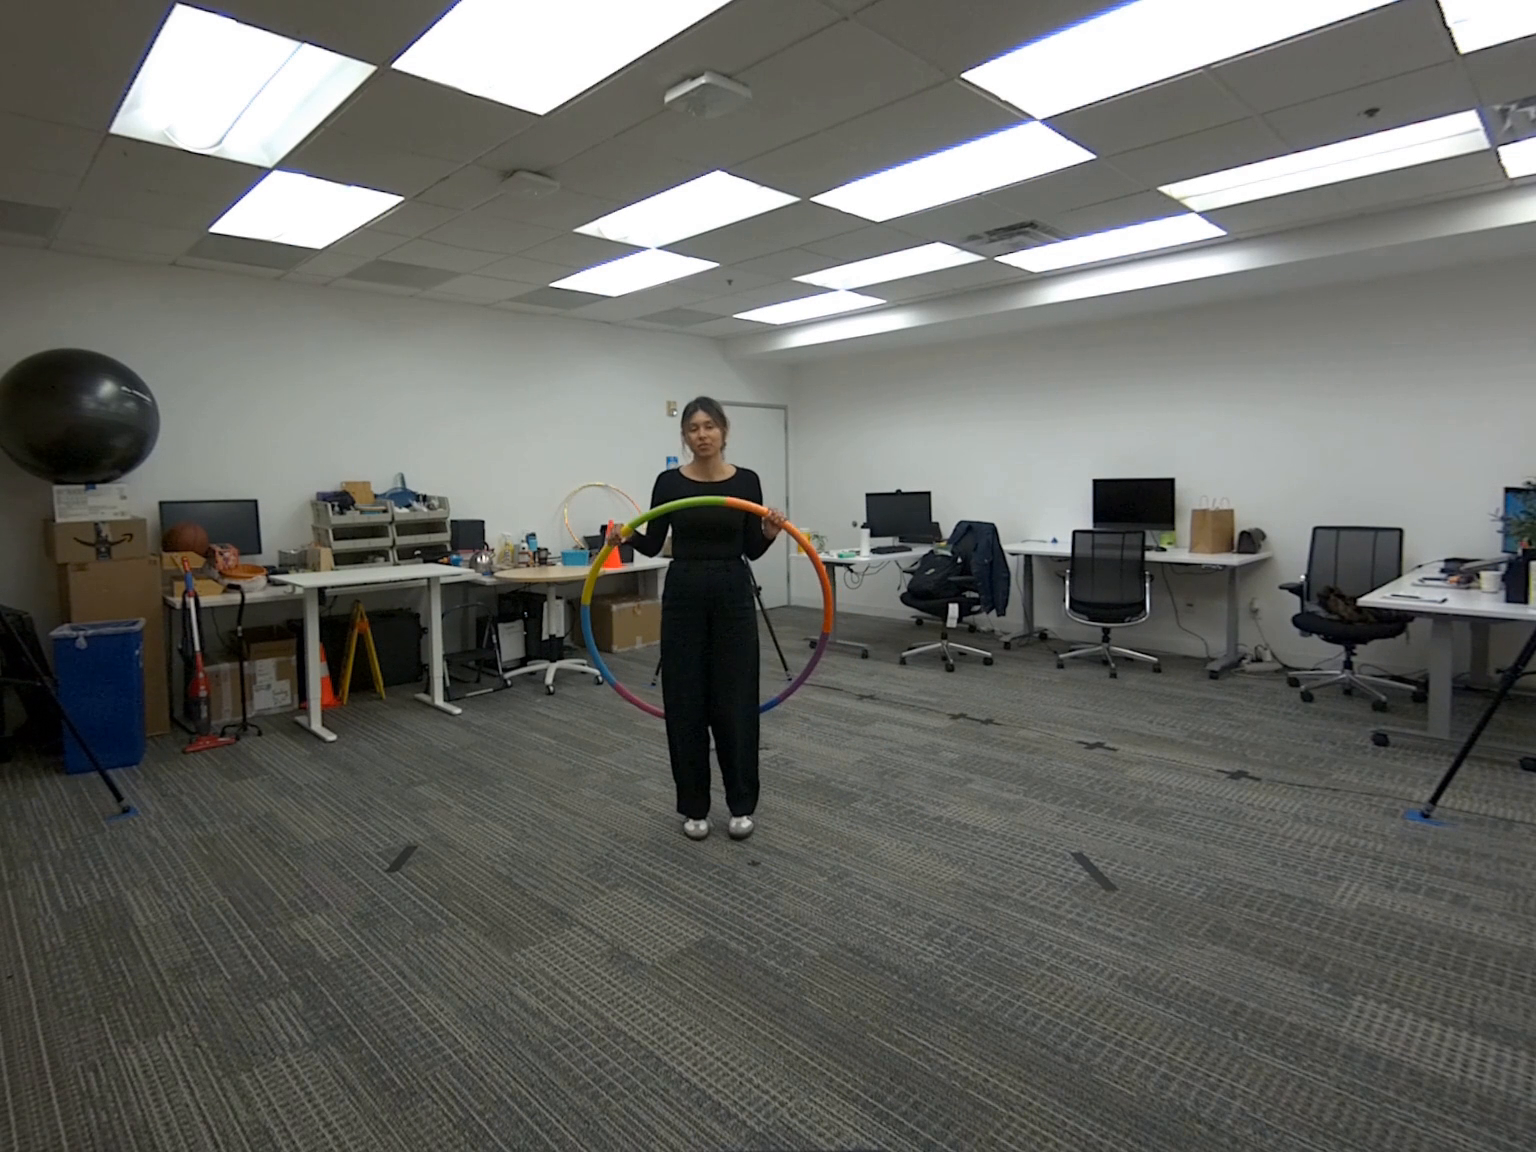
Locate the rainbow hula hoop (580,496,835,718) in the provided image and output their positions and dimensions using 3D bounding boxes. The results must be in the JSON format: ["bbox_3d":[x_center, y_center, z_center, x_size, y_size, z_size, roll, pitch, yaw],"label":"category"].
[{"bbox_3d":[-0.225,0.162,3.347,0.976,0.960,0.036,-1,23,-2],"label":"rainbow hula hoop"}]
